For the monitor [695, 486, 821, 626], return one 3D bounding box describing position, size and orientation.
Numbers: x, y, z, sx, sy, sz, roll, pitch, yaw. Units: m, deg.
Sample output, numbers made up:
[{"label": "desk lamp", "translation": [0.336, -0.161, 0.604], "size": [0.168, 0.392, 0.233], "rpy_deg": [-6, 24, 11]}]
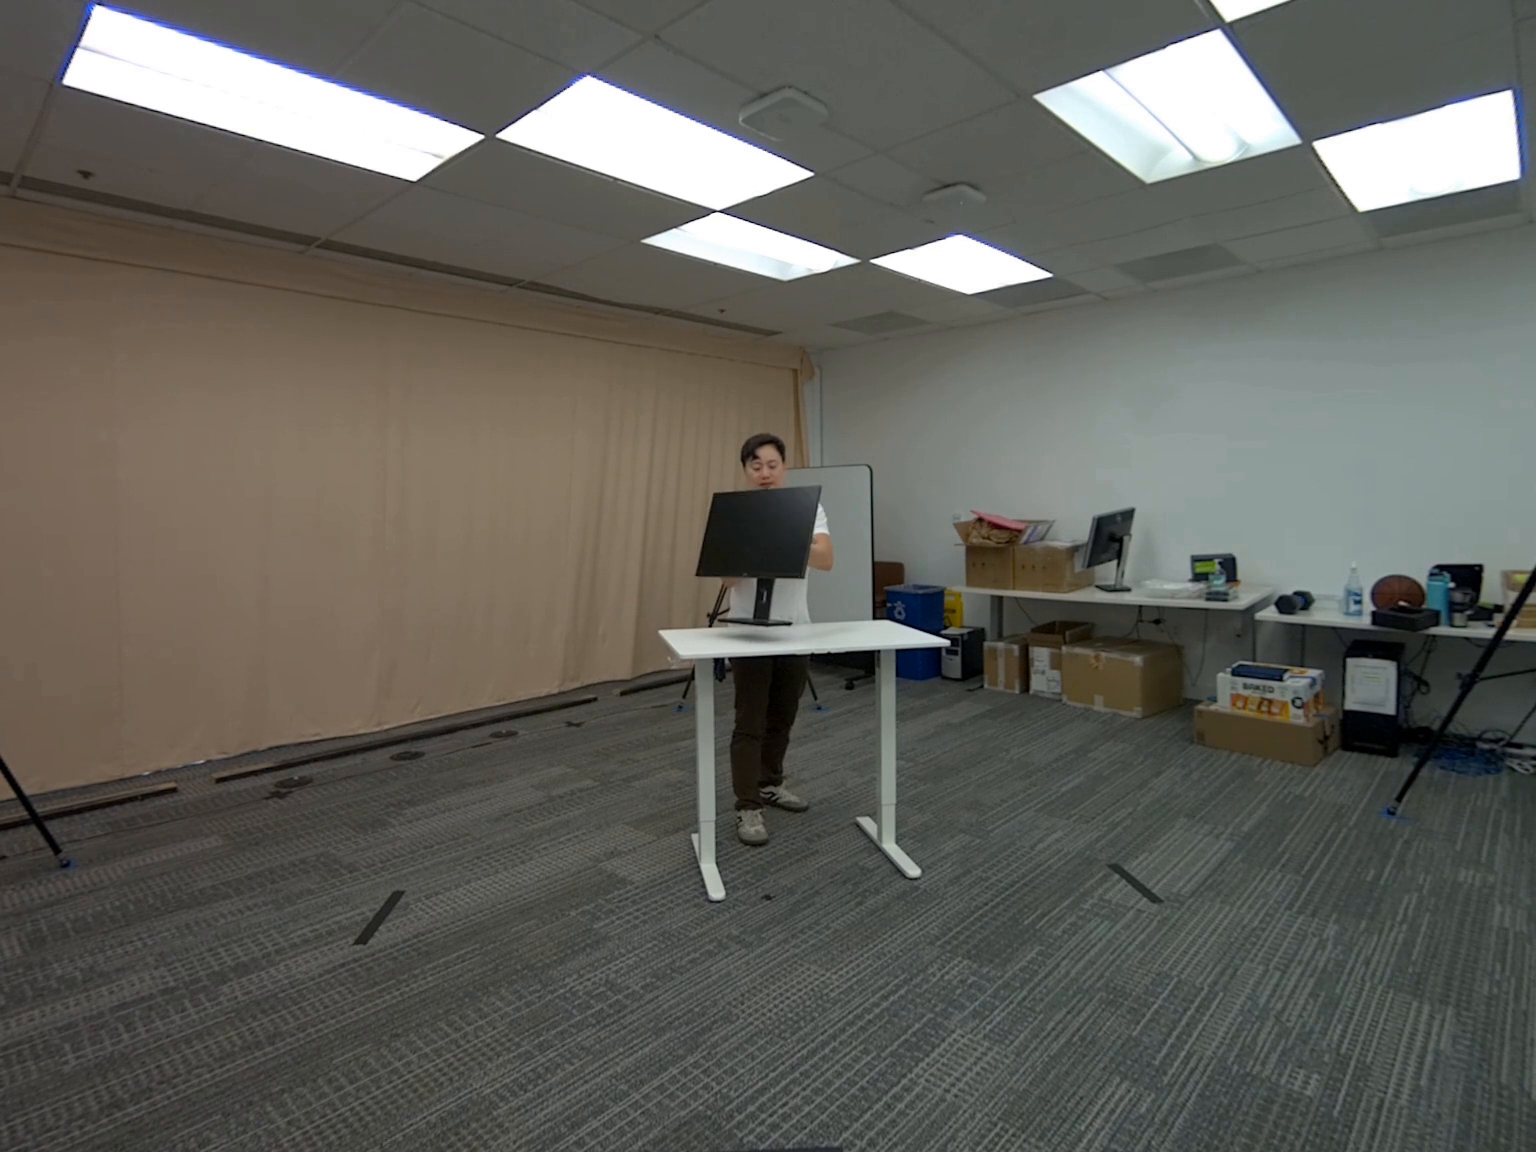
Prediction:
[{"label": "monitor", "translation": [-0.029, -0.068, 3.210], "size": [0.556, 0.523, 0.181], "rpy_deg": [0, -4, 41]}]
